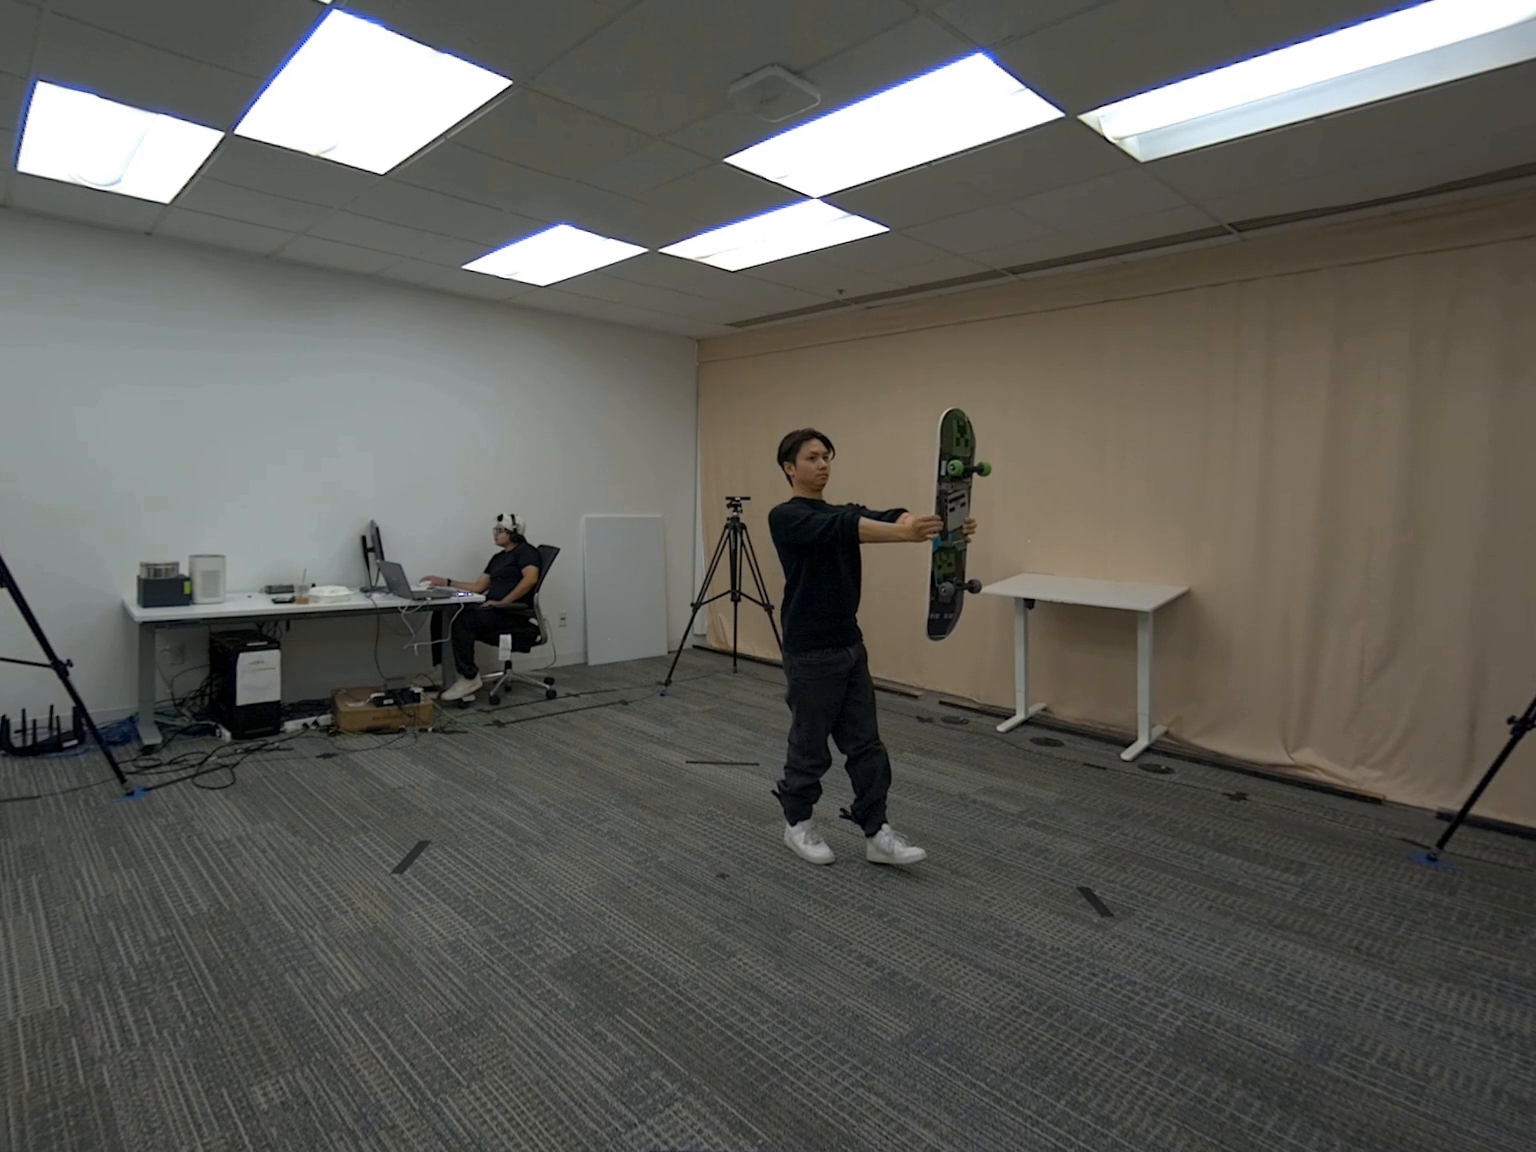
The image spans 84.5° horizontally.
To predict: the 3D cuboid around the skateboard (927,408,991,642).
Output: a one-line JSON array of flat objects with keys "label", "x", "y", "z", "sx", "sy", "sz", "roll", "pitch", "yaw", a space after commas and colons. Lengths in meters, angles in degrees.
[{"label": "skateboard", "x": 0.620, "y": -0.156, "z": 2.801, "sx": 0.189, "sy": 0.781, "sz": 0.113, "roll": -2, "pitch": 9, "yaw": -38}]
